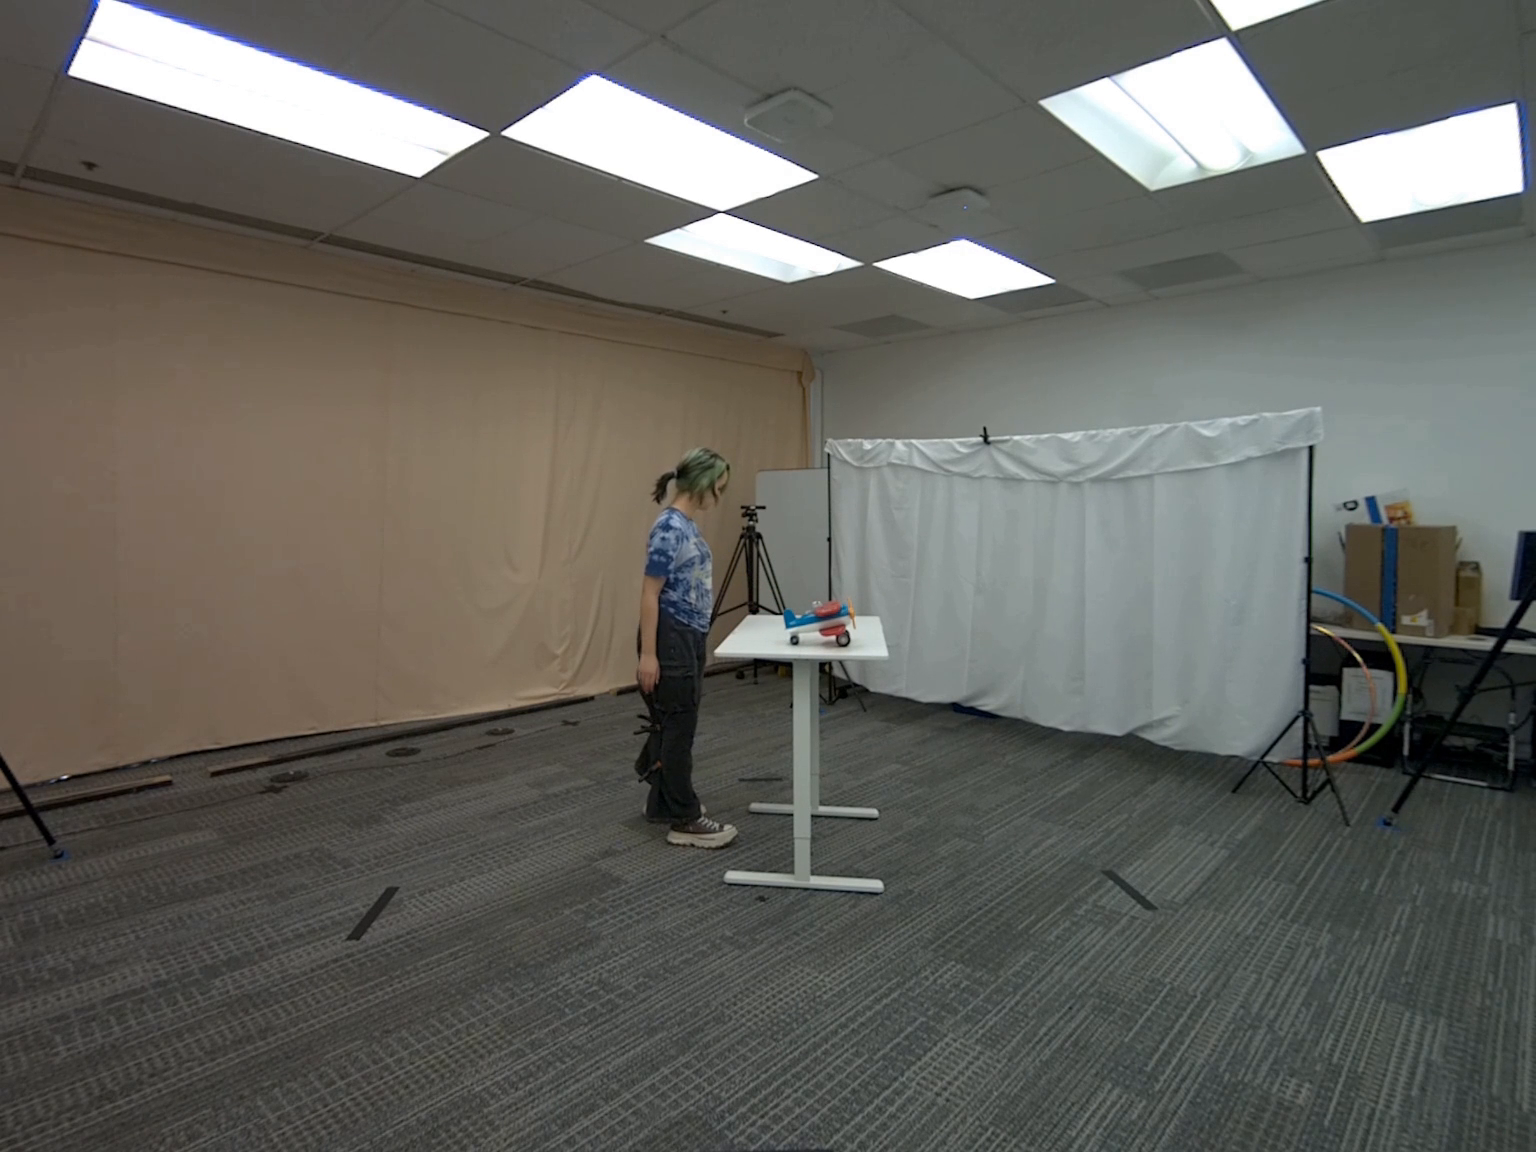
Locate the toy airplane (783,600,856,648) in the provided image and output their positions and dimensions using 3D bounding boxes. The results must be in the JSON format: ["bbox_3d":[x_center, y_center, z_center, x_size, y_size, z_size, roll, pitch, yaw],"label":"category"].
[{"bbox_3d":[0.193,0.177,3.076,0.253,0.156,0.257,-1,4,-24],"label":"toy airplane"}]
